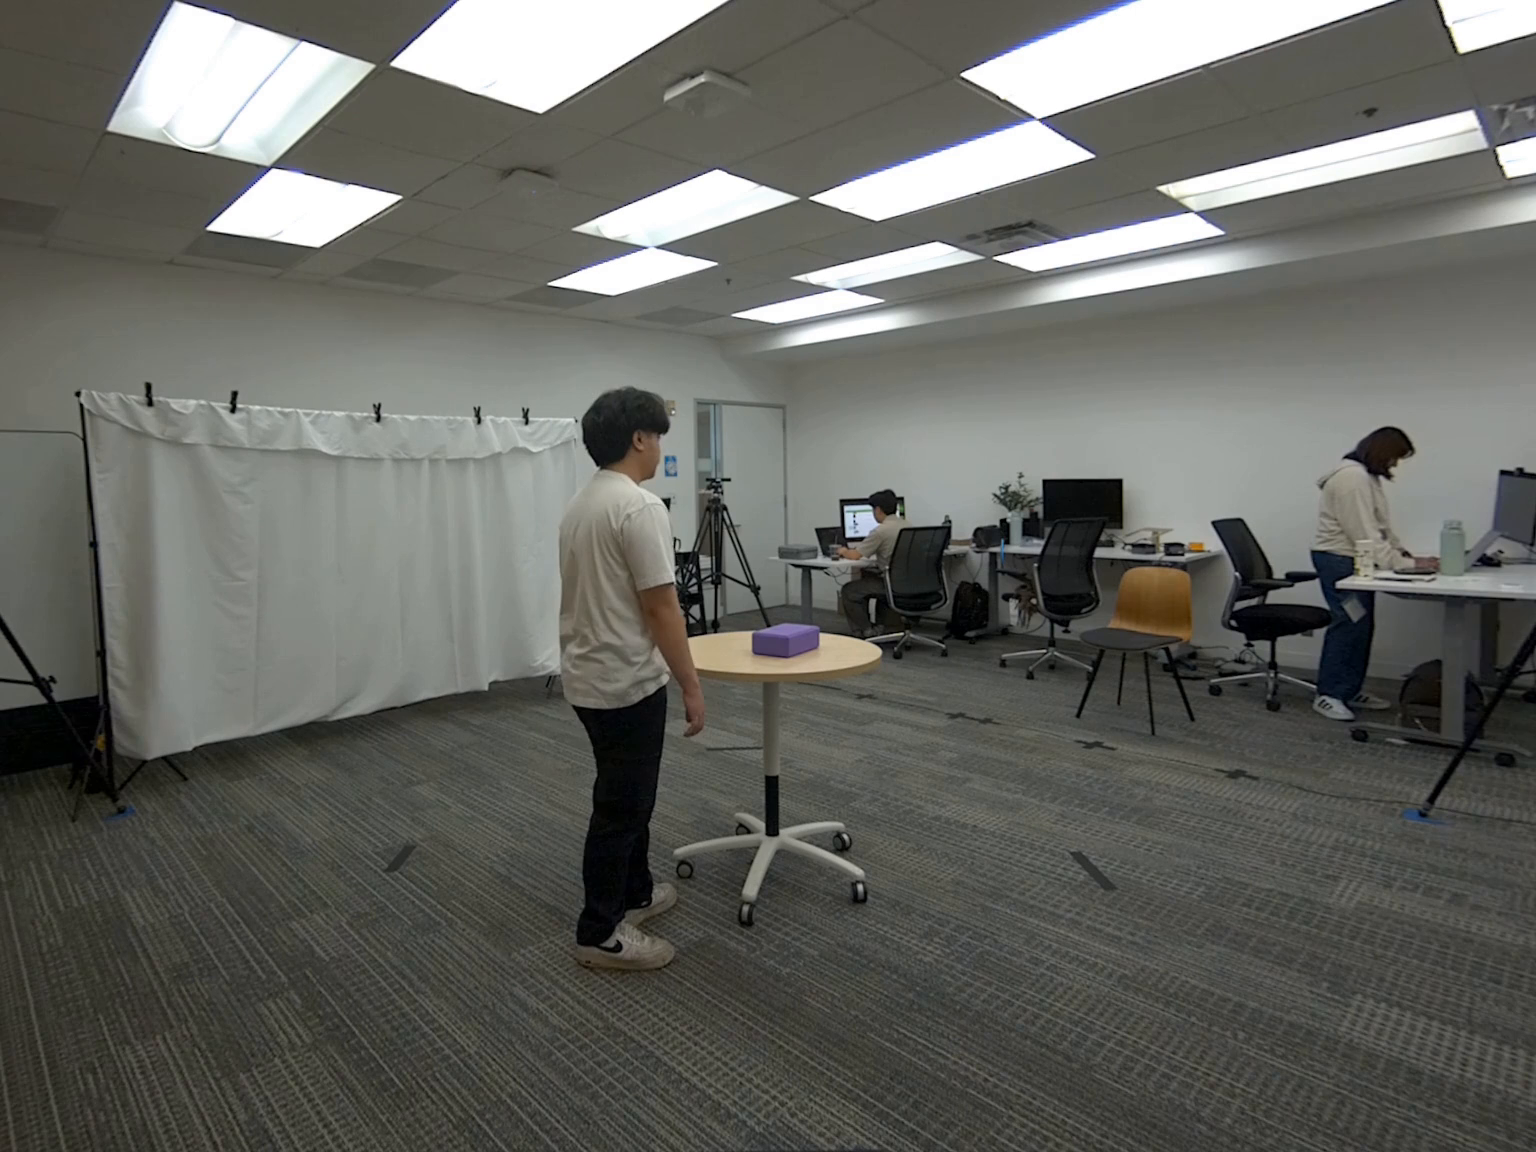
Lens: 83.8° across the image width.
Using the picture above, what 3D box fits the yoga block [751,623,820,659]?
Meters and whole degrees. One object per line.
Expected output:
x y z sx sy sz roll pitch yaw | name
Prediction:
0.064 0.221 2.946 0.153 0.076 0.224 3 6 32 | yoga block
